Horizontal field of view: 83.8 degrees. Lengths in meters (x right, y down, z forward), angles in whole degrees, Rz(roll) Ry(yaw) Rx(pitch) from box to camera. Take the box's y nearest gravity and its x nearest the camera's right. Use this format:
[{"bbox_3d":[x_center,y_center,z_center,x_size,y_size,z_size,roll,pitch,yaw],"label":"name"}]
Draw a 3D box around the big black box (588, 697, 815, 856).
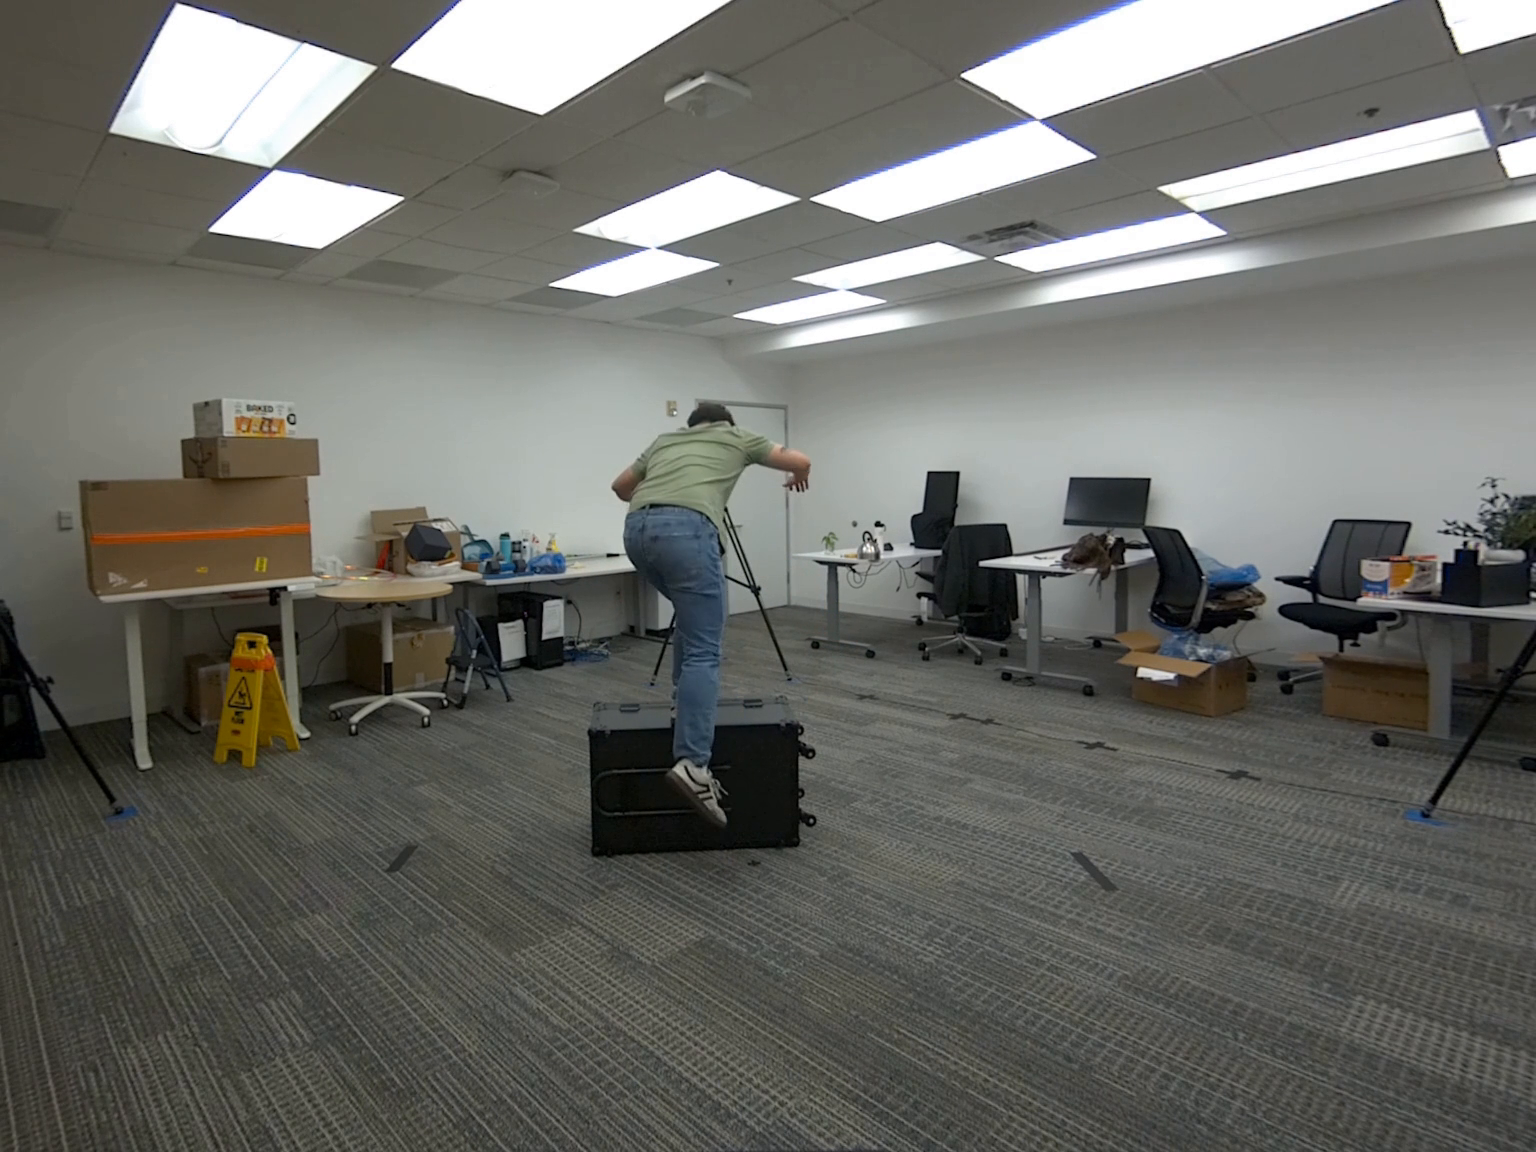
[{"bbox_3d":[-0.261,0.768,3.348,0.857,0.518,0.400,-1,6,-5],"label":"big black box"}]
